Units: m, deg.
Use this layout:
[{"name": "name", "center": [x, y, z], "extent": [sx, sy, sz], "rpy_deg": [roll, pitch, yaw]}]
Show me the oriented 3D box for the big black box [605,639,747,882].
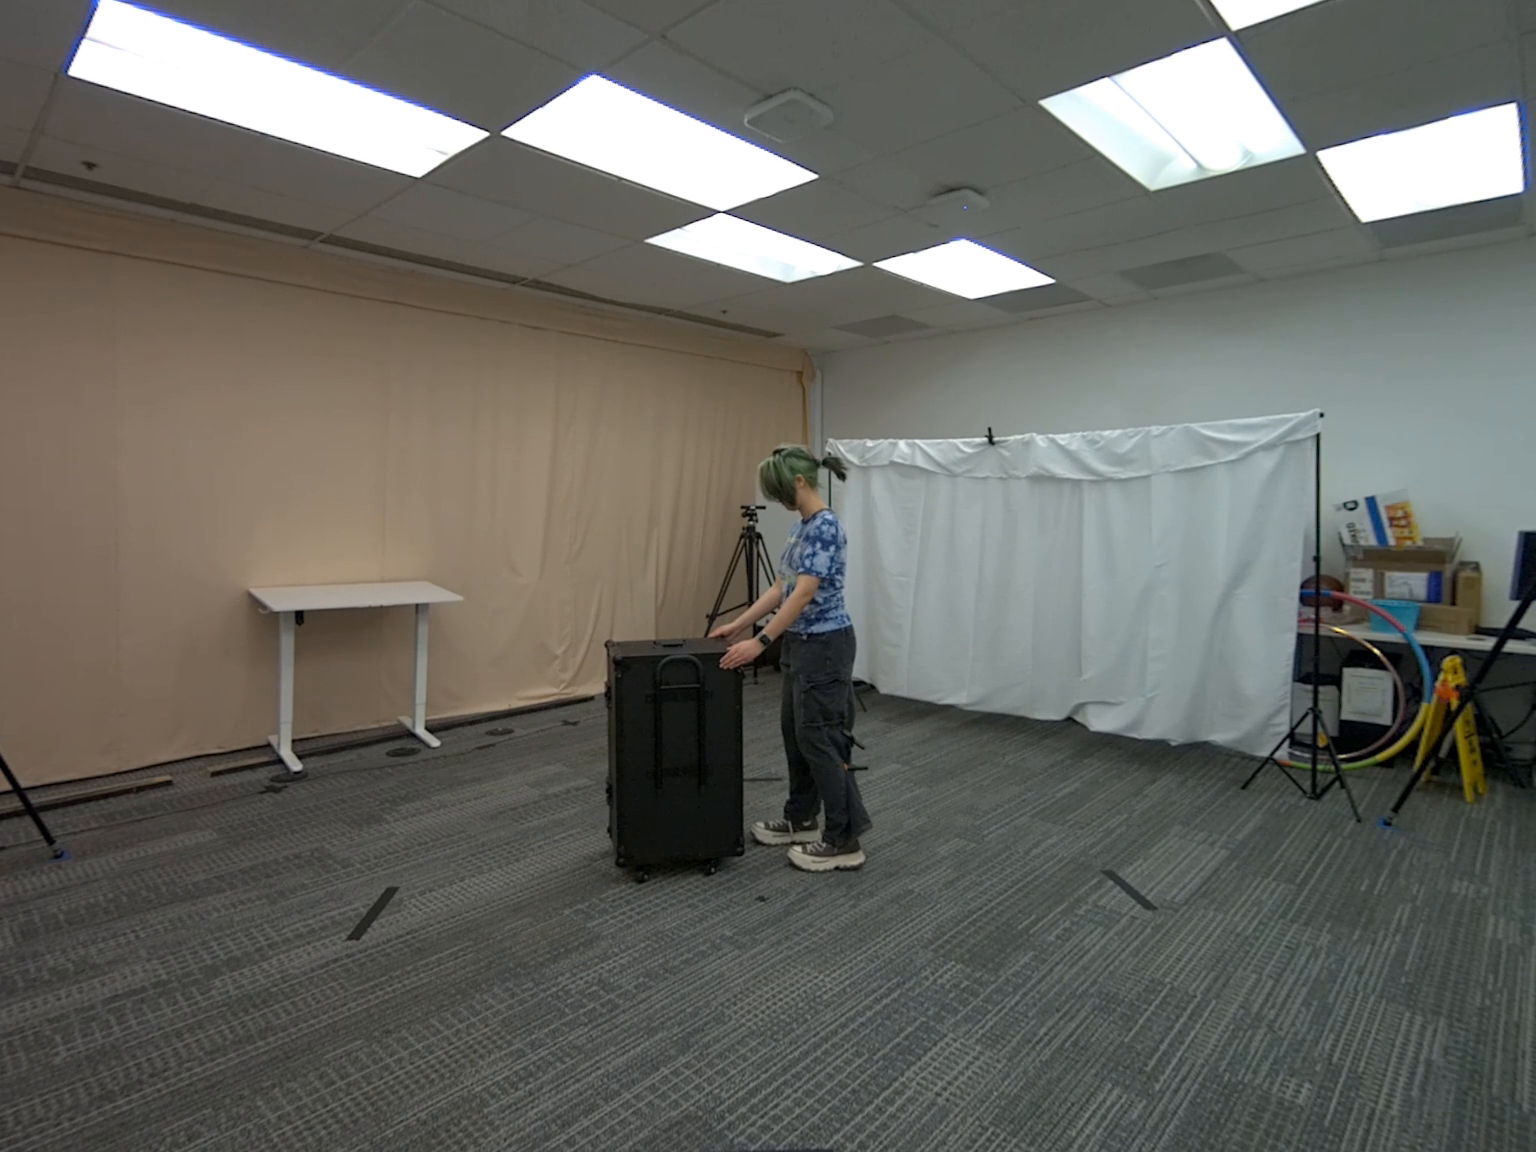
[{"name": "big black box", "center": [-0.362, 0.705, 3.273], "extent": [0.514, 0.859, 0.403], "rpy_deg": [-1, 4, -14]}]
